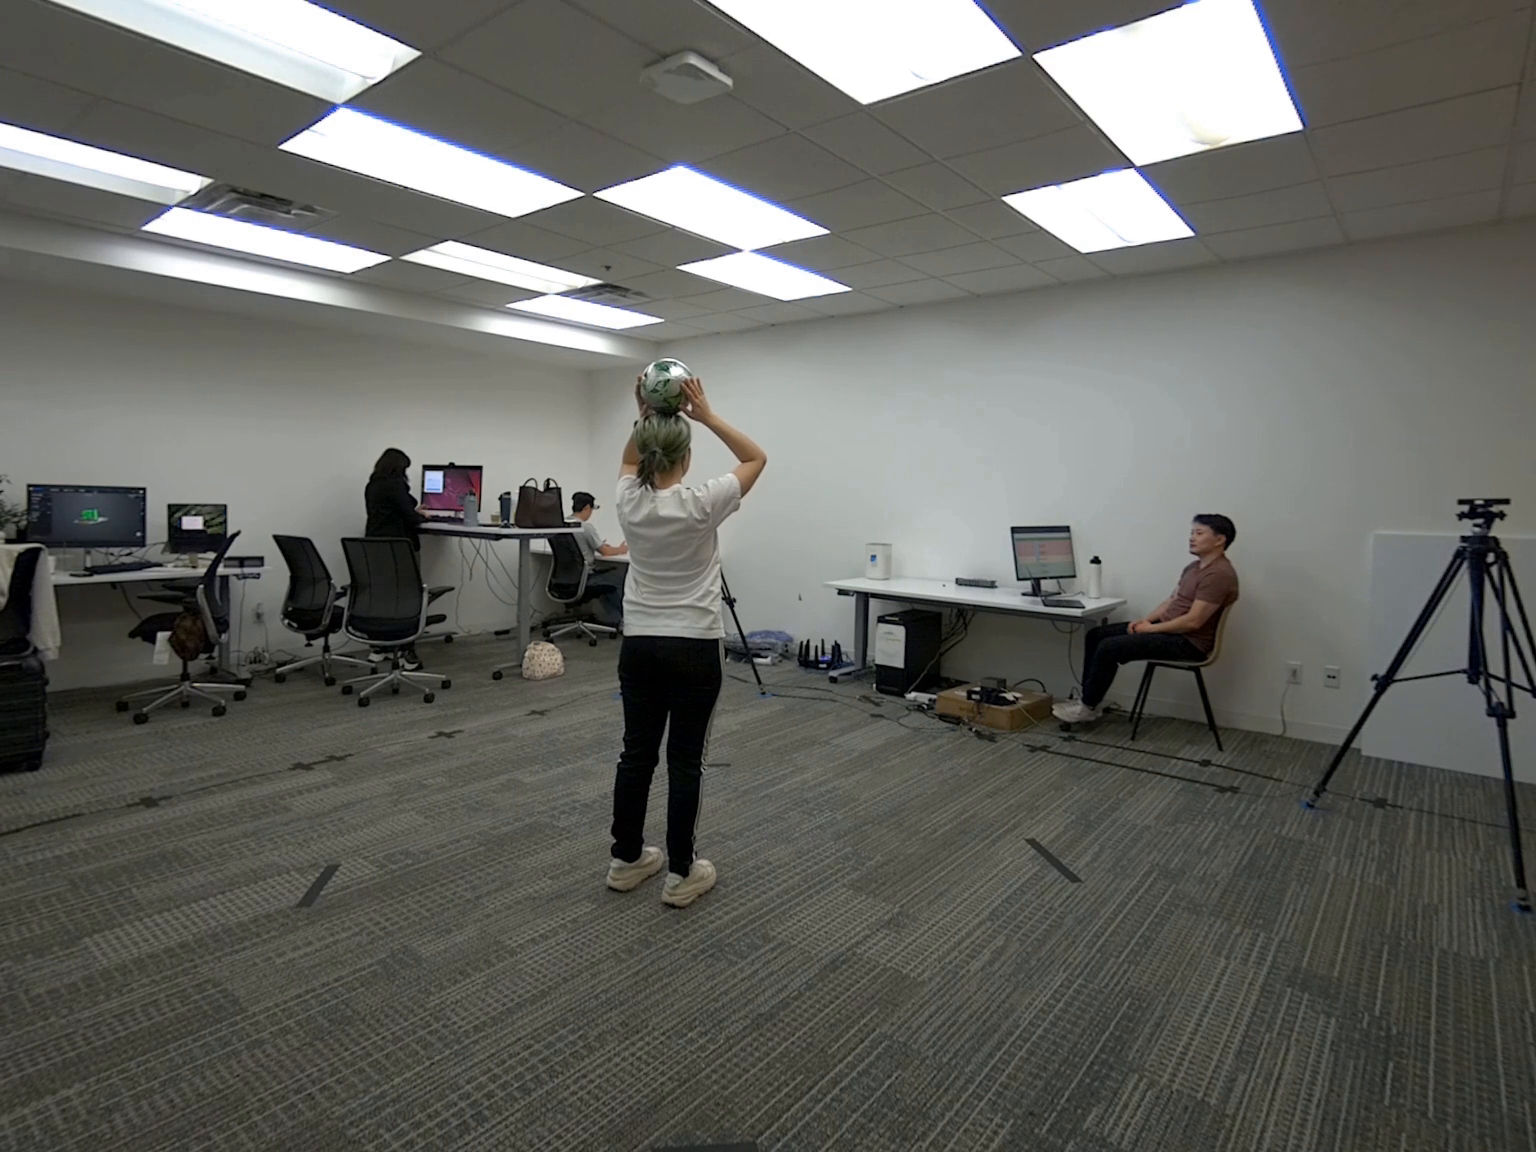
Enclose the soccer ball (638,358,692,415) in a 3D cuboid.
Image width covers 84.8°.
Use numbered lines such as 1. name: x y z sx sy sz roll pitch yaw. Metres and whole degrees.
1. soccer ball: -0.353 -0.642 2.883 0.187 0.187 0.188 1 4 -2
